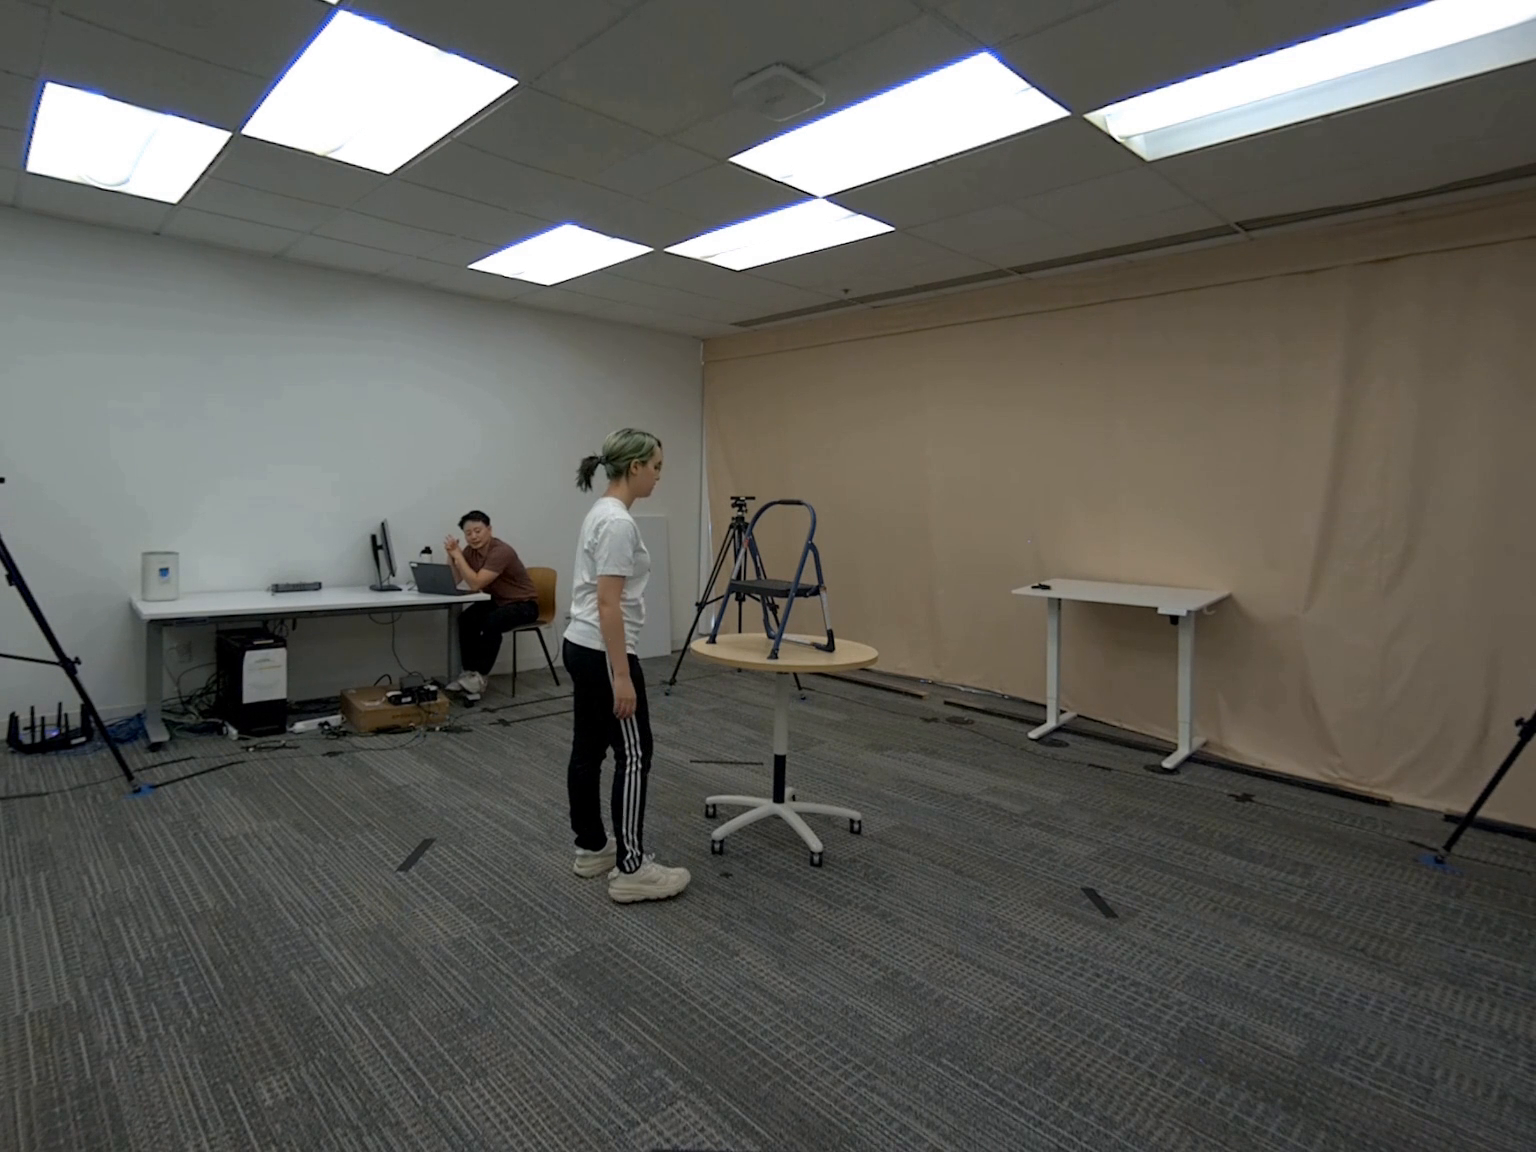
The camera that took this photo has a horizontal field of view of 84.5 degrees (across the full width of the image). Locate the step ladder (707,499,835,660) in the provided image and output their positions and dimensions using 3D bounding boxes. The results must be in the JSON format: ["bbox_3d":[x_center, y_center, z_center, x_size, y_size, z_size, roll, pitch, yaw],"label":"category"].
[{"bbox_3d":[0.013,-0.007,3.428,0.341,0.604,0.441,-1,4,-39],"label":"step ladder"}]
